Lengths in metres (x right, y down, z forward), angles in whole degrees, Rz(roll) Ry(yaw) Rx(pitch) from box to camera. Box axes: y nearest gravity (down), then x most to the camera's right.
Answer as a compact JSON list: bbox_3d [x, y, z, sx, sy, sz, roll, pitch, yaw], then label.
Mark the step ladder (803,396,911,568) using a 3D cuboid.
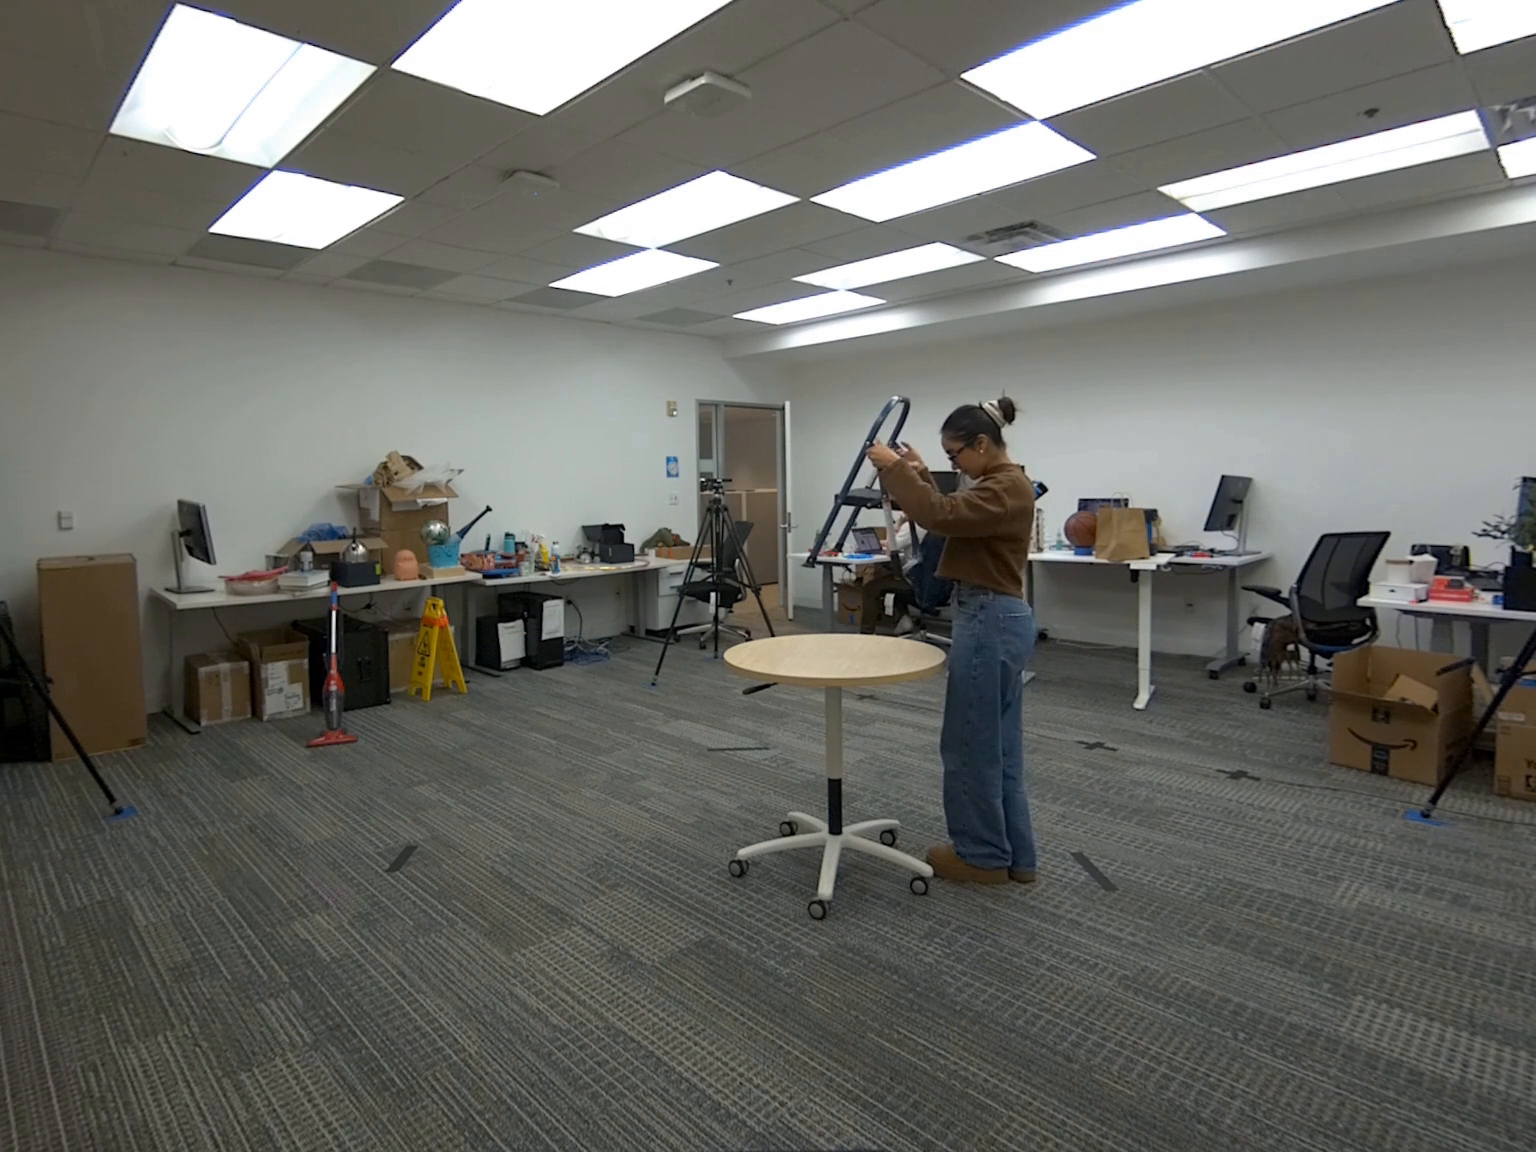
[{"bbox_3d":[0.387,-0.341,3.042,0.356,0.601,0.425,8,10,19],"label":"step ladder"}]
